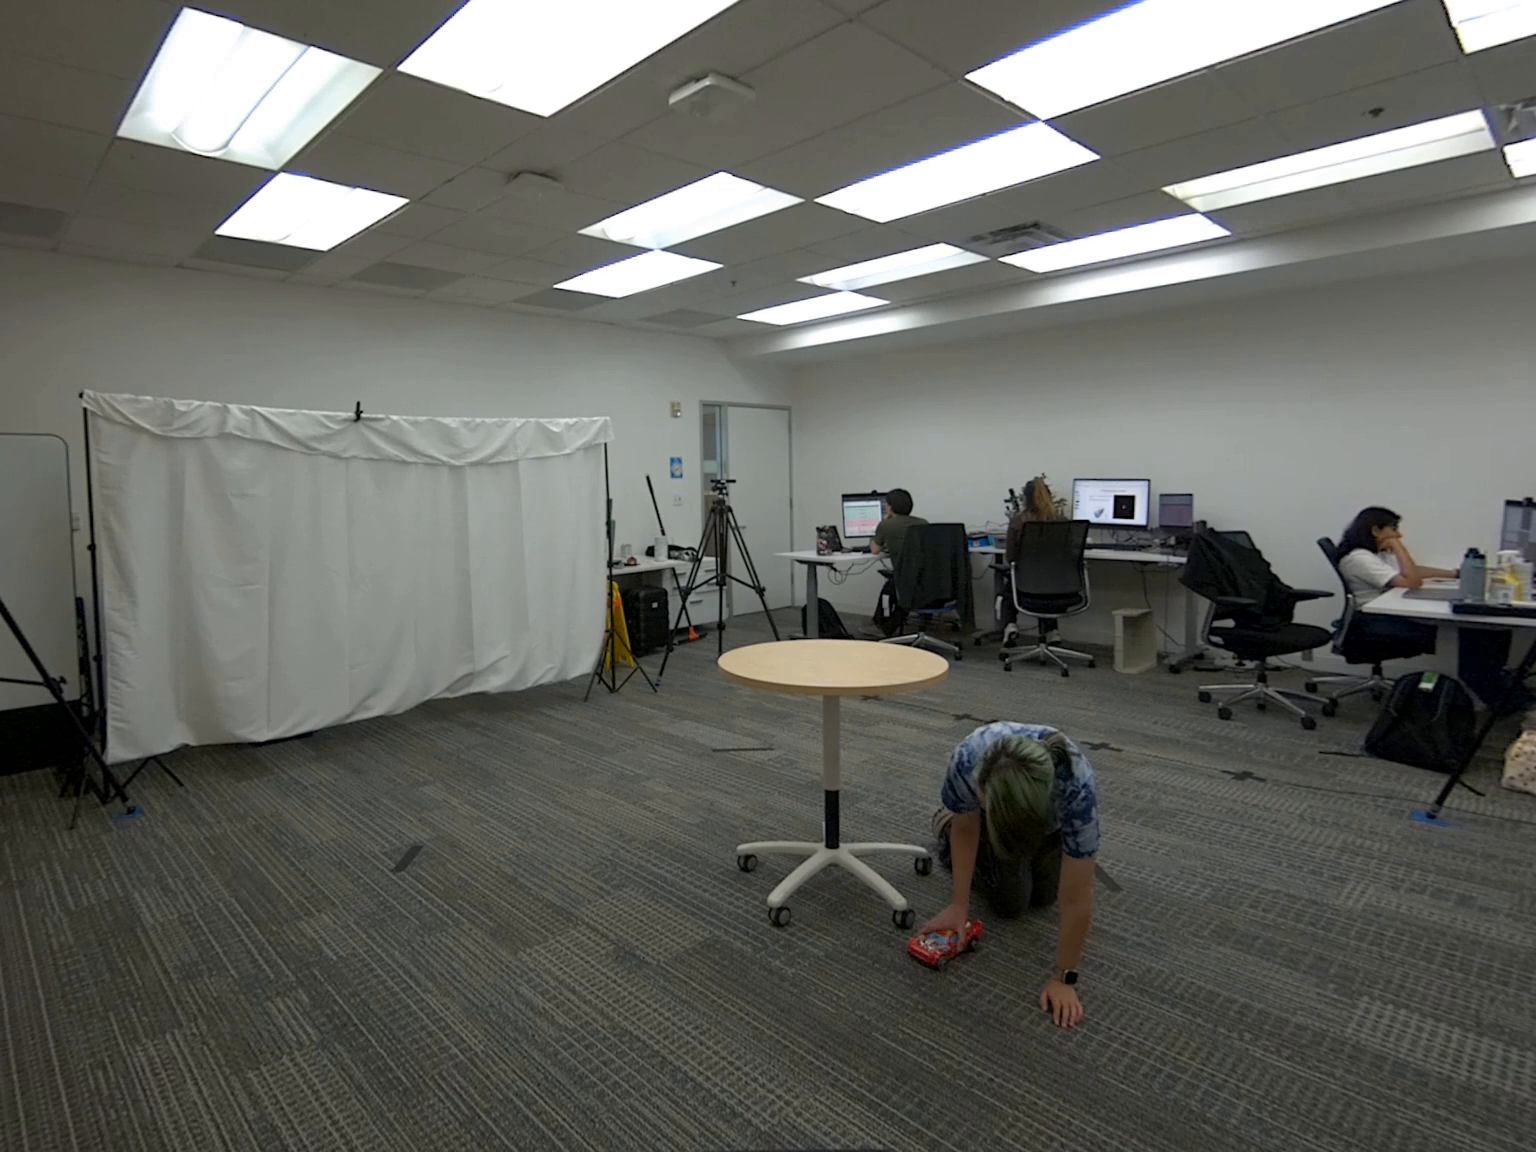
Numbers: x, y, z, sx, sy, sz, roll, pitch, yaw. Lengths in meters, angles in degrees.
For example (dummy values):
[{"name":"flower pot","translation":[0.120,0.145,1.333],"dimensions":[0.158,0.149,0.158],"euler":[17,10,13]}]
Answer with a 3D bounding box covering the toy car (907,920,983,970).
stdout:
[{"name":"toy car","translation":[0.541,1.079,2.510],"dimensions":[0.250,0.082,0.134],"euler":[-18,16,-36]}]
